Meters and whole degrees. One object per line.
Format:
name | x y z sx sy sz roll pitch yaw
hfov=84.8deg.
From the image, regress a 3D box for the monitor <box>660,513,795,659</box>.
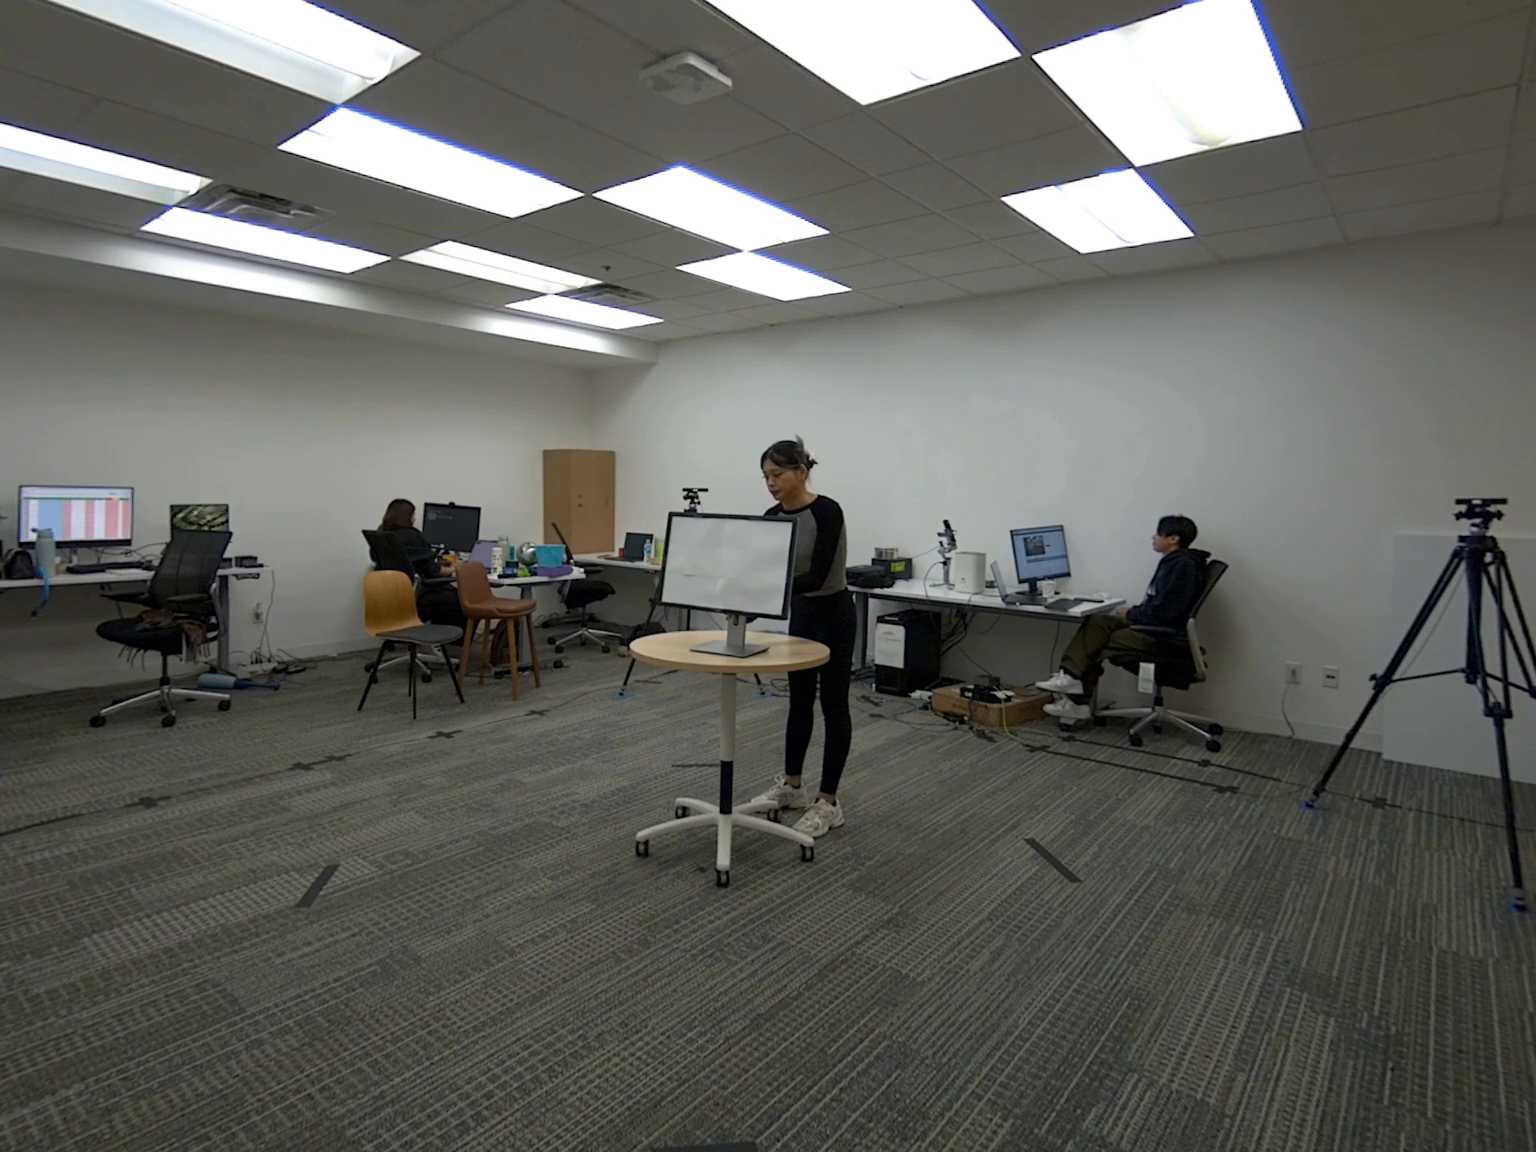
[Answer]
monitor | -0.151 0.028 3.155 0.546 0.511 0.171 5 12 31
